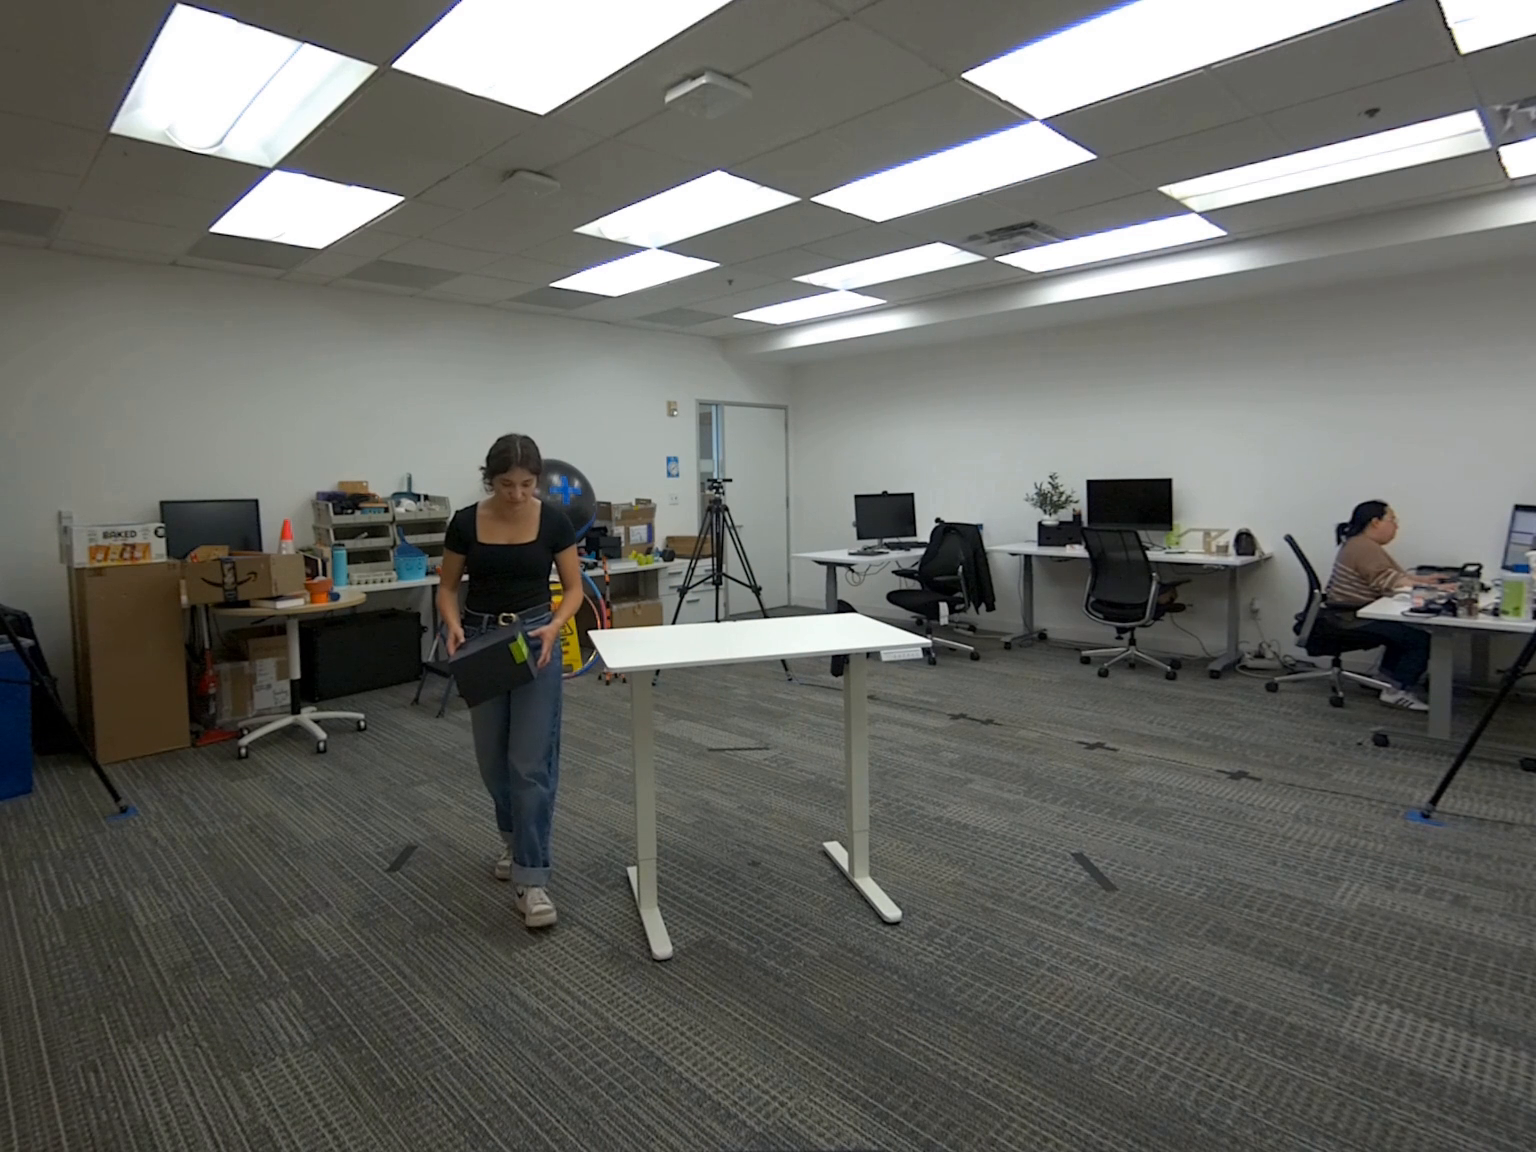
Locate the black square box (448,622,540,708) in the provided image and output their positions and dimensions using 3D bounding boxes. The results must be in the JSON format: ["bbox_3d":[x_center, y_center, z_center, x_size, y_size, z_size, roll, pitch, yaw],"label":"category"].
[{"bbox_3d":[-0.859,0.266,2.673,0.216,0.154,0.232,-23,12,-9],"label":"black square box"}]
